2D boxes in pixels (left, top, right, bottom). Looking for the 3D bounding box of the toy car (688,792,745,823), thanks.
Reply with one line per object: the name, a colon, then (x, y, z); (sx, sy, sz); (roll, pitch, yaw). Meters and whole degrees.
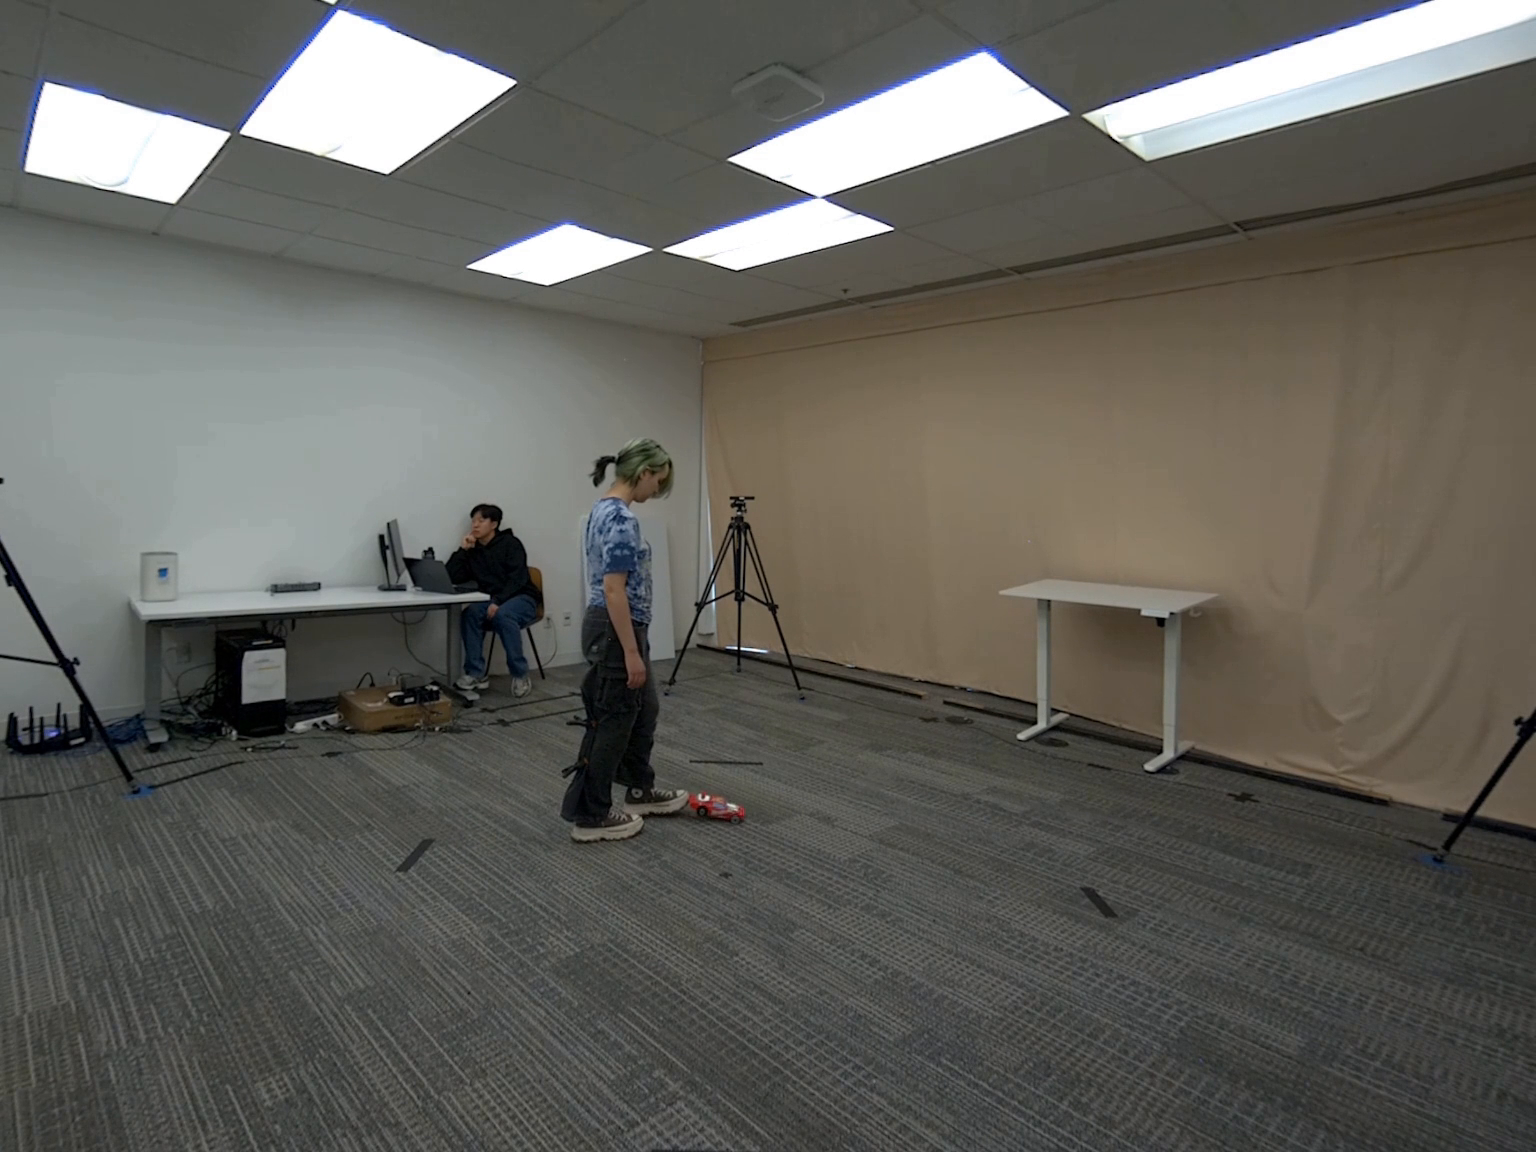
toy car: (-0.243, 1.009, 3.656); (0.255, 0.083, 0.130); (22, 6, 2)
